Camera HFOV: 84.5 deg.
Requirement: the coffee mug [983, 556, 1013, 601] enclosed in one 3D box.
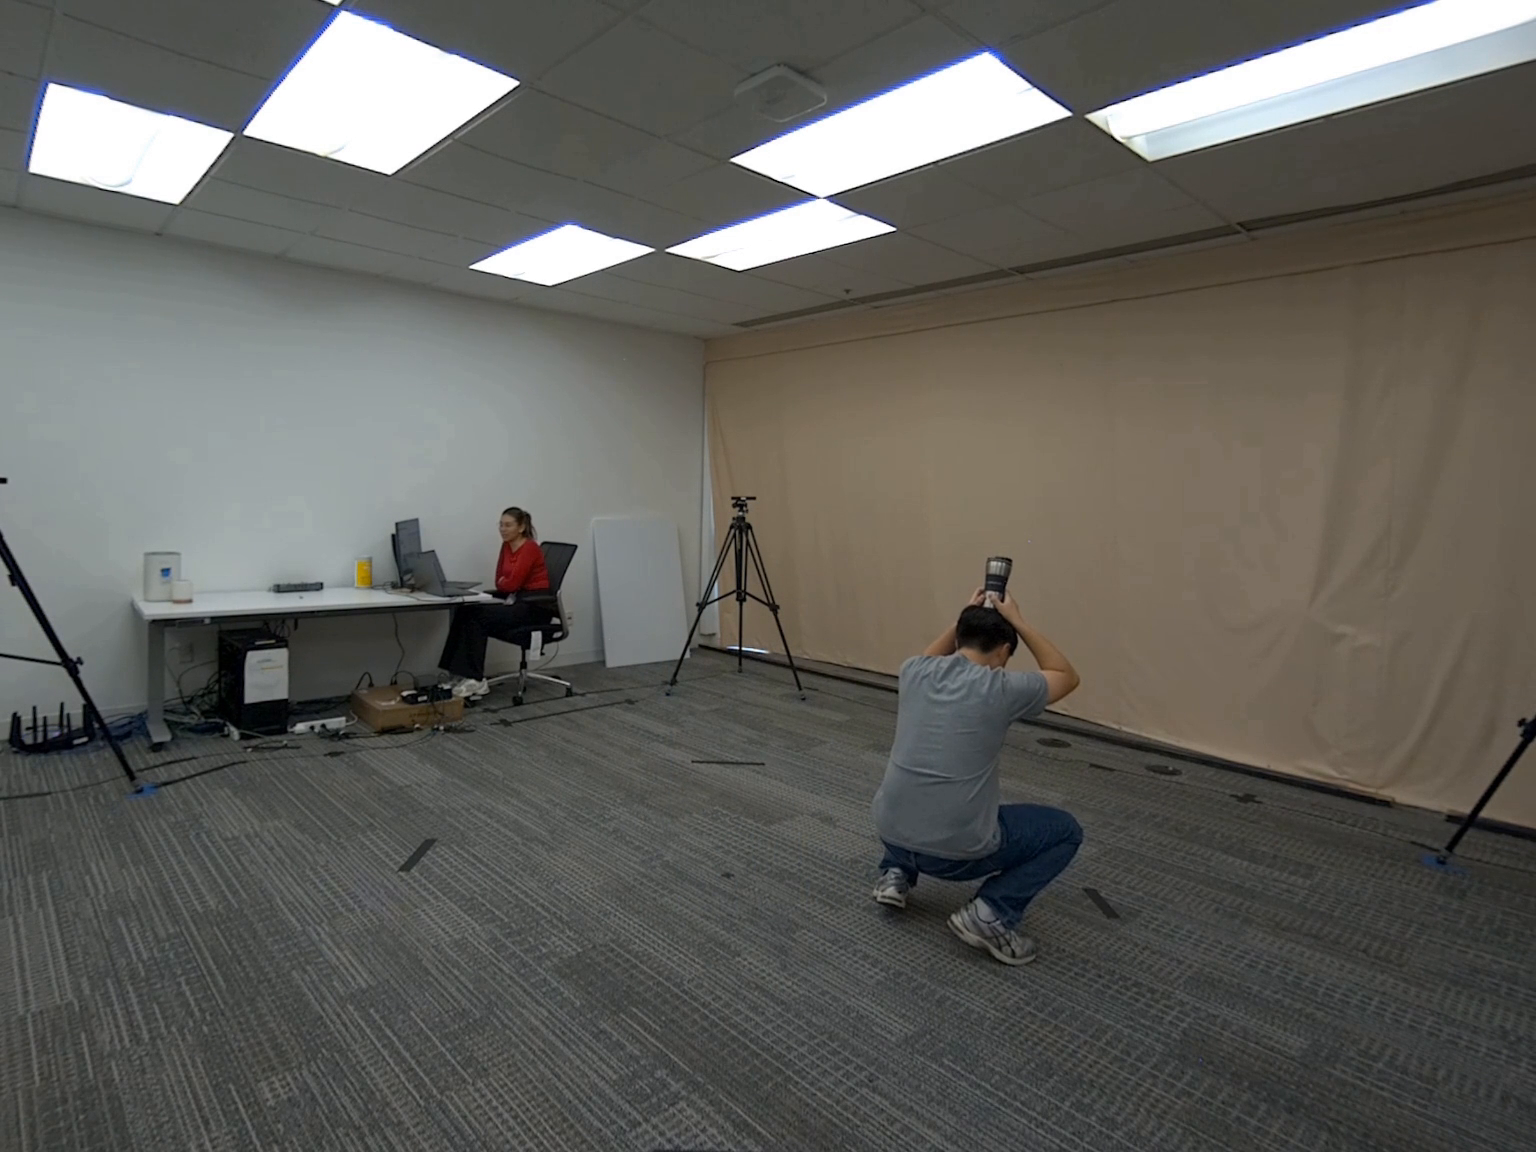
[{"bbox_3d":[0.808,0.040,2.973,0.090,0.204,0.118,0,-17,38],"label":"coffee mug"}]
